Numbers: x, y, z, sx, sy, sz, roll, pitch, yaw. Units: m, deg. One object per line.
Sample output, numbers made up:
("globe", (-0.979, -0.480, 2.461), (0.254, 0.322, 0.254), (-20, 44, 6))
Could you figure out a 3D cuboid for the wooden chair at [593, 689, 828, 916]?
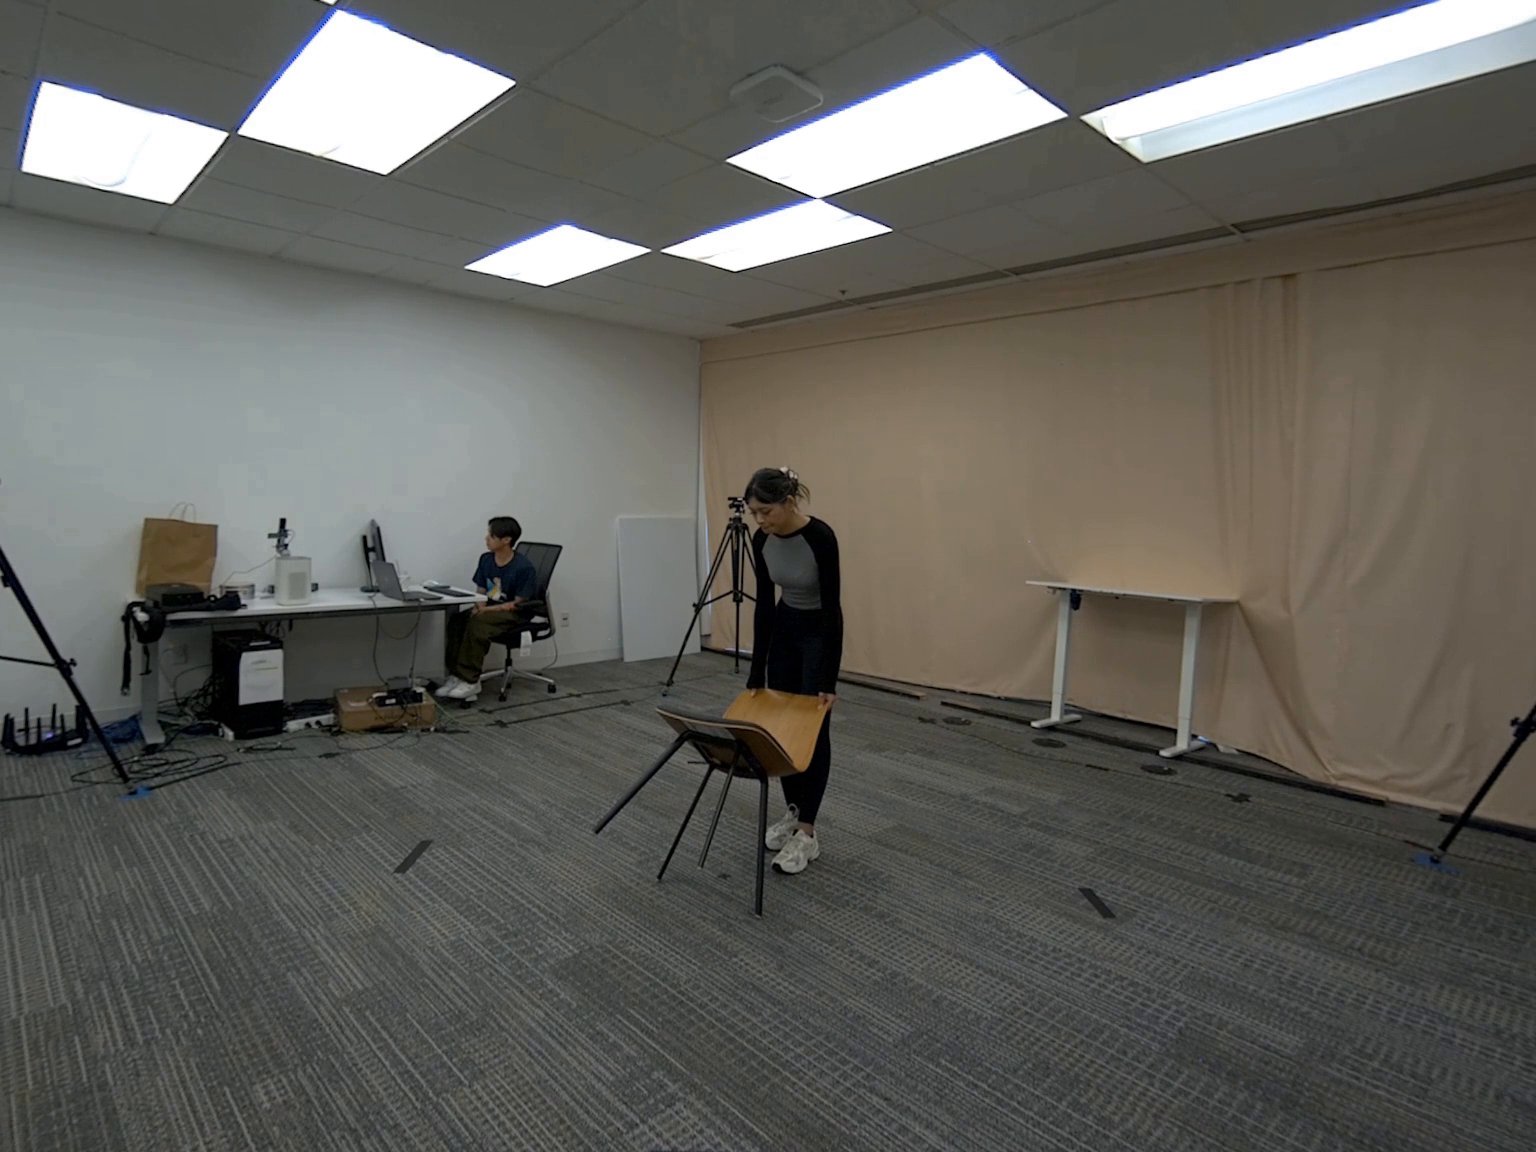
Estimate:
("wooden chair", (-0.156, 0.642, 2.974), (0.489, 0.883, 0.507), (3, -39, 34))
